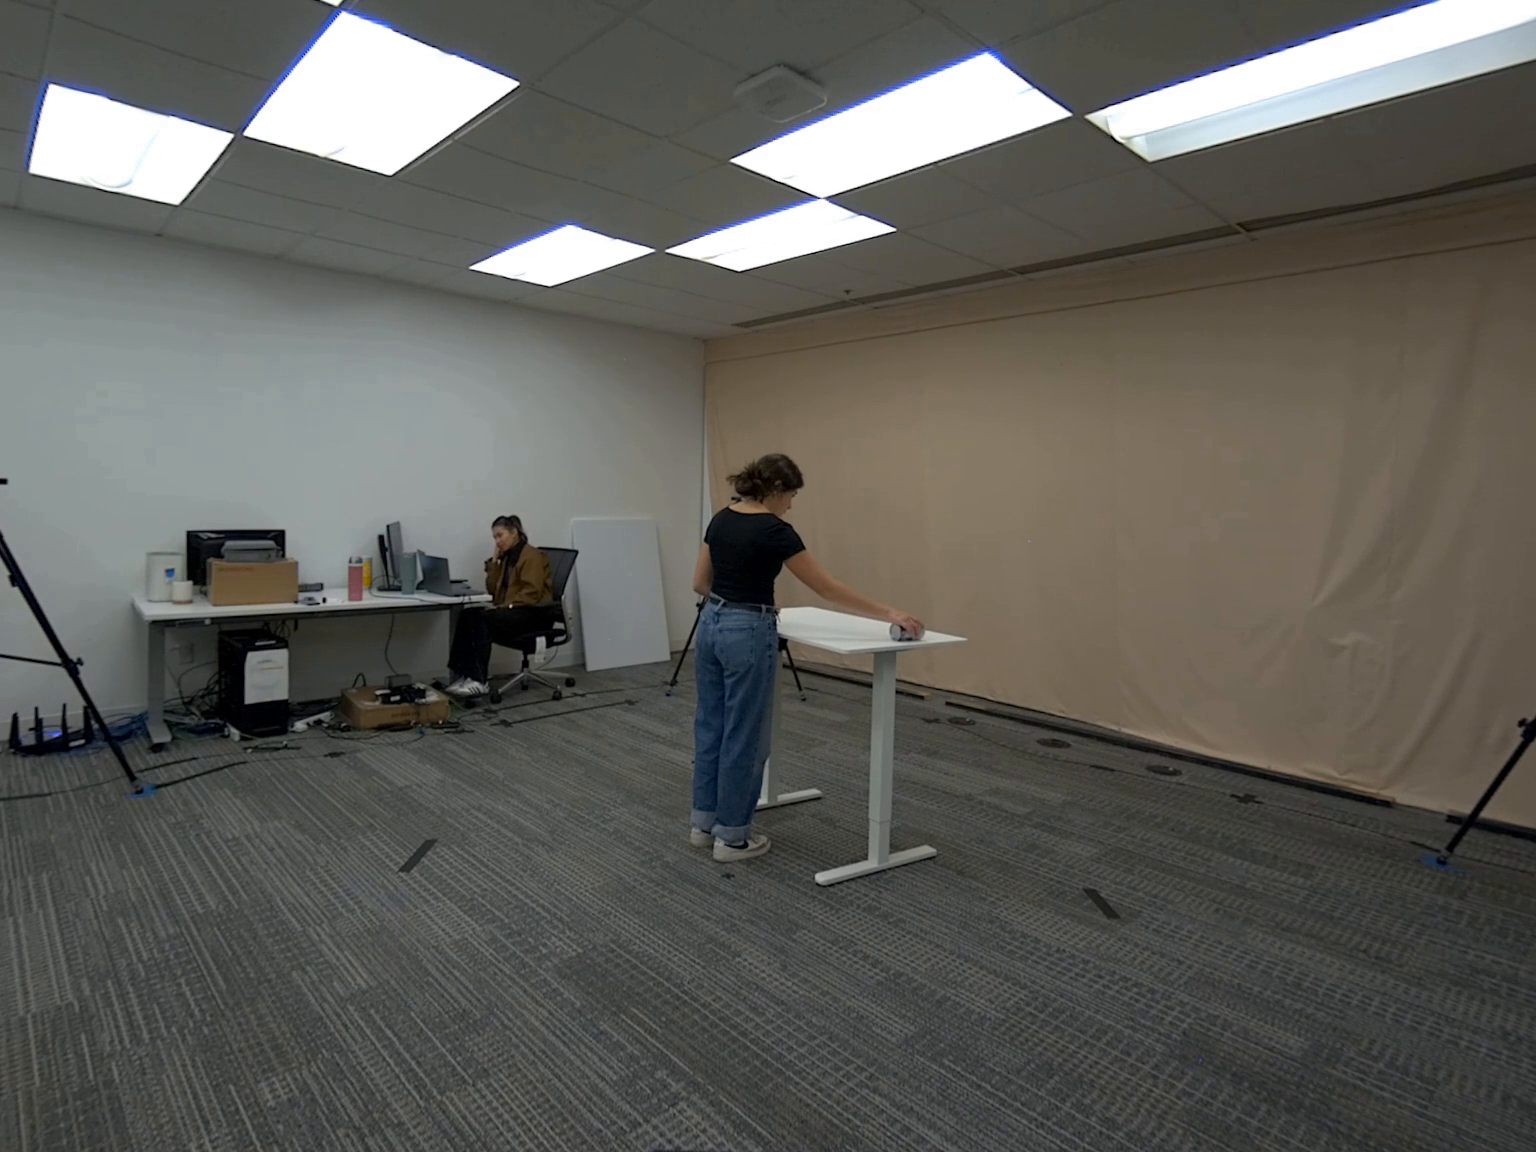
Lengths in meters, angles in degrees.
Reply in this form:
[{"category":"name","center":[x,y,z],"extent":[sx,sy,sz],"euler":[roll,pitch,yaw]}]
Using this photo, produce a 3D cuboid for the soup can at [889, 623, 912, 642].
[{"category":"soup can","center":[0.510,0.206,3.148],"extent":[0.120,0.067,0.068],"euler":[-5,6,-20]}]
